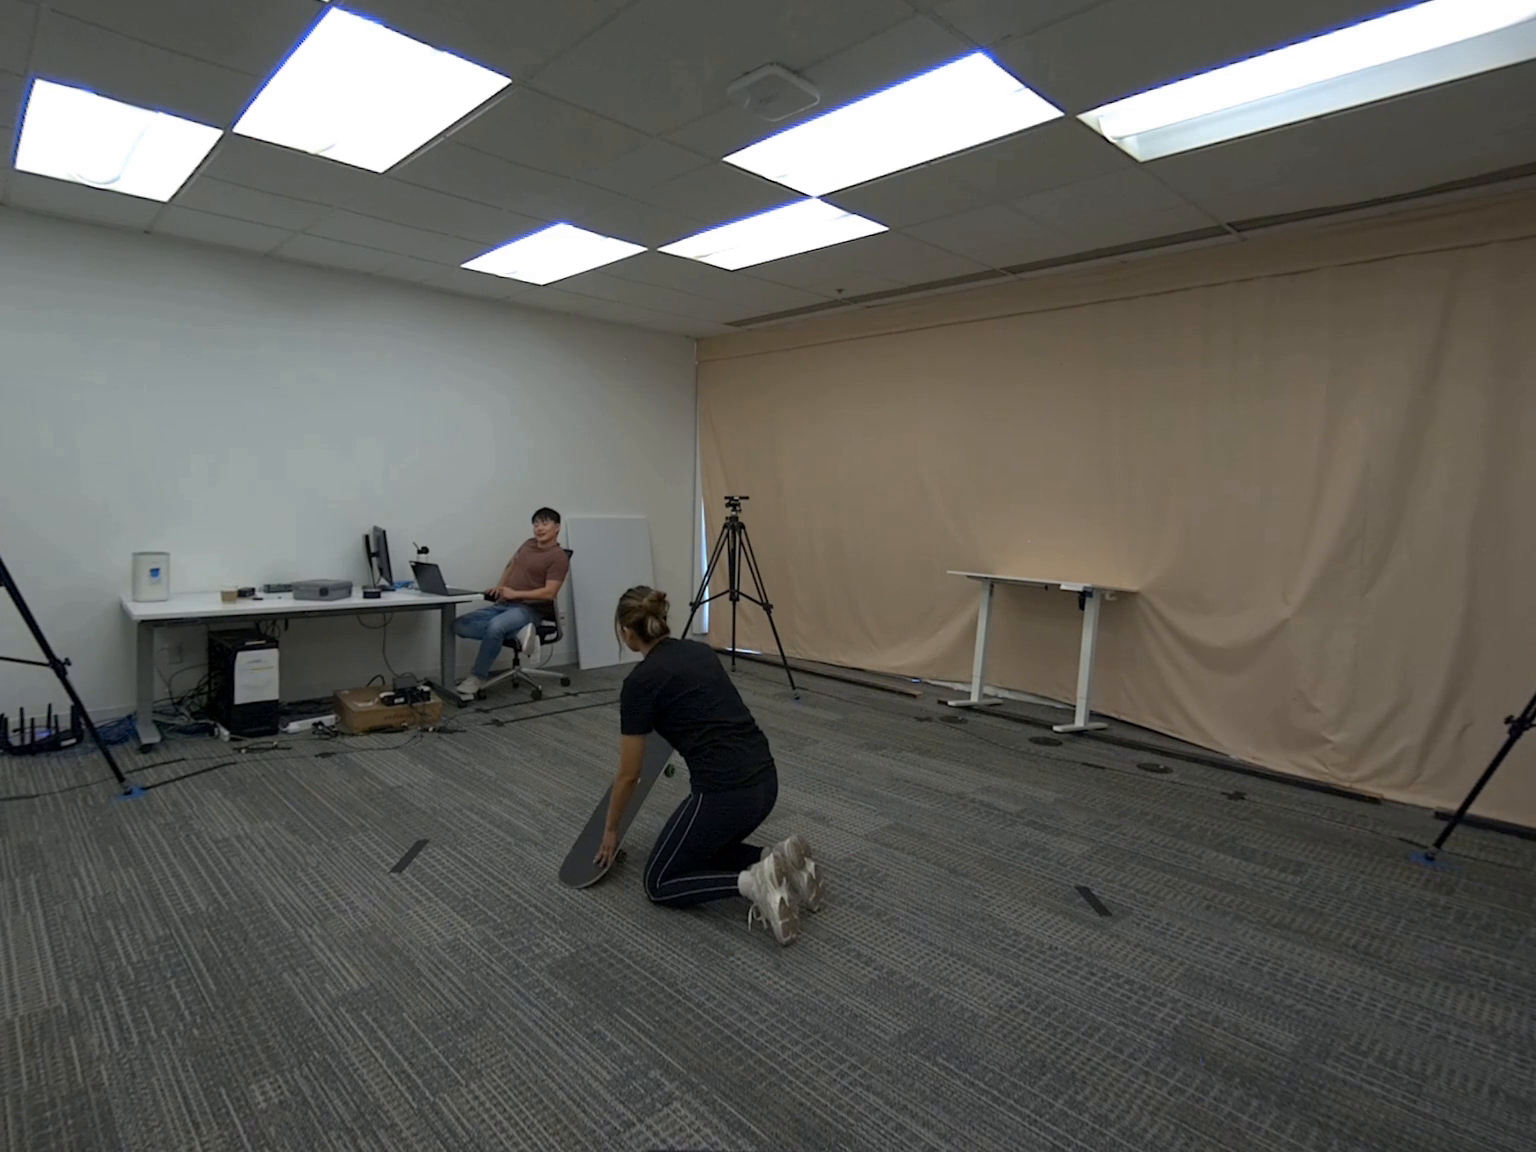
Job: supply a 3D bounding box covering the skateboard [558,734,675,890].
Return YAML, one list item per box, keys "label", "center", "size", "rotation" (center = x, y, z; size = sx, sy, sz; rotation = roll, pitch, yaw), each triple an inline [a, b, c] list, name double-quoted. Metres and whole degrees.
- label: "skateboard"
  center: [-0.549, 0.882, 3.263]
  size: [0.197, 0.107, 0.790]
  rotation: [1, 40, 29]
